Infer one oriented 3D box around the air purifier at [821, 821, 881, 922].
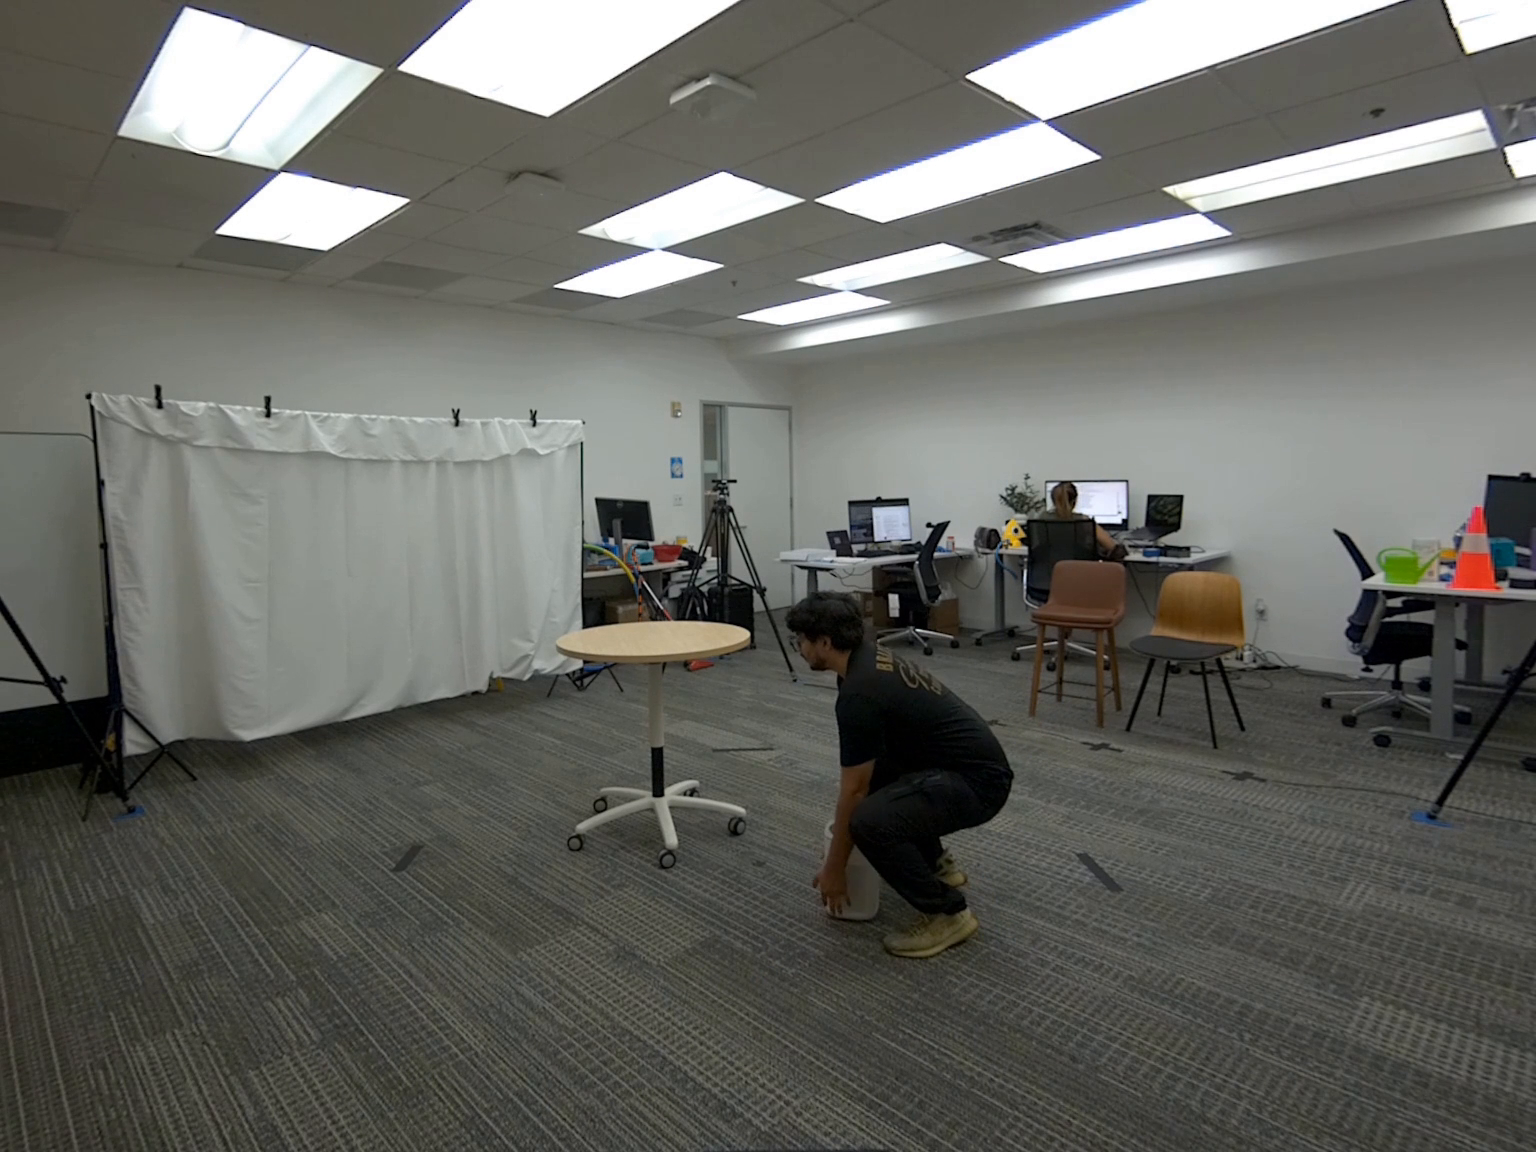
[{"bbox_3d":[0.281,0.955,2.748,0.176,0.261,0.167,-3,5,13],"label":"air purifier"}]
